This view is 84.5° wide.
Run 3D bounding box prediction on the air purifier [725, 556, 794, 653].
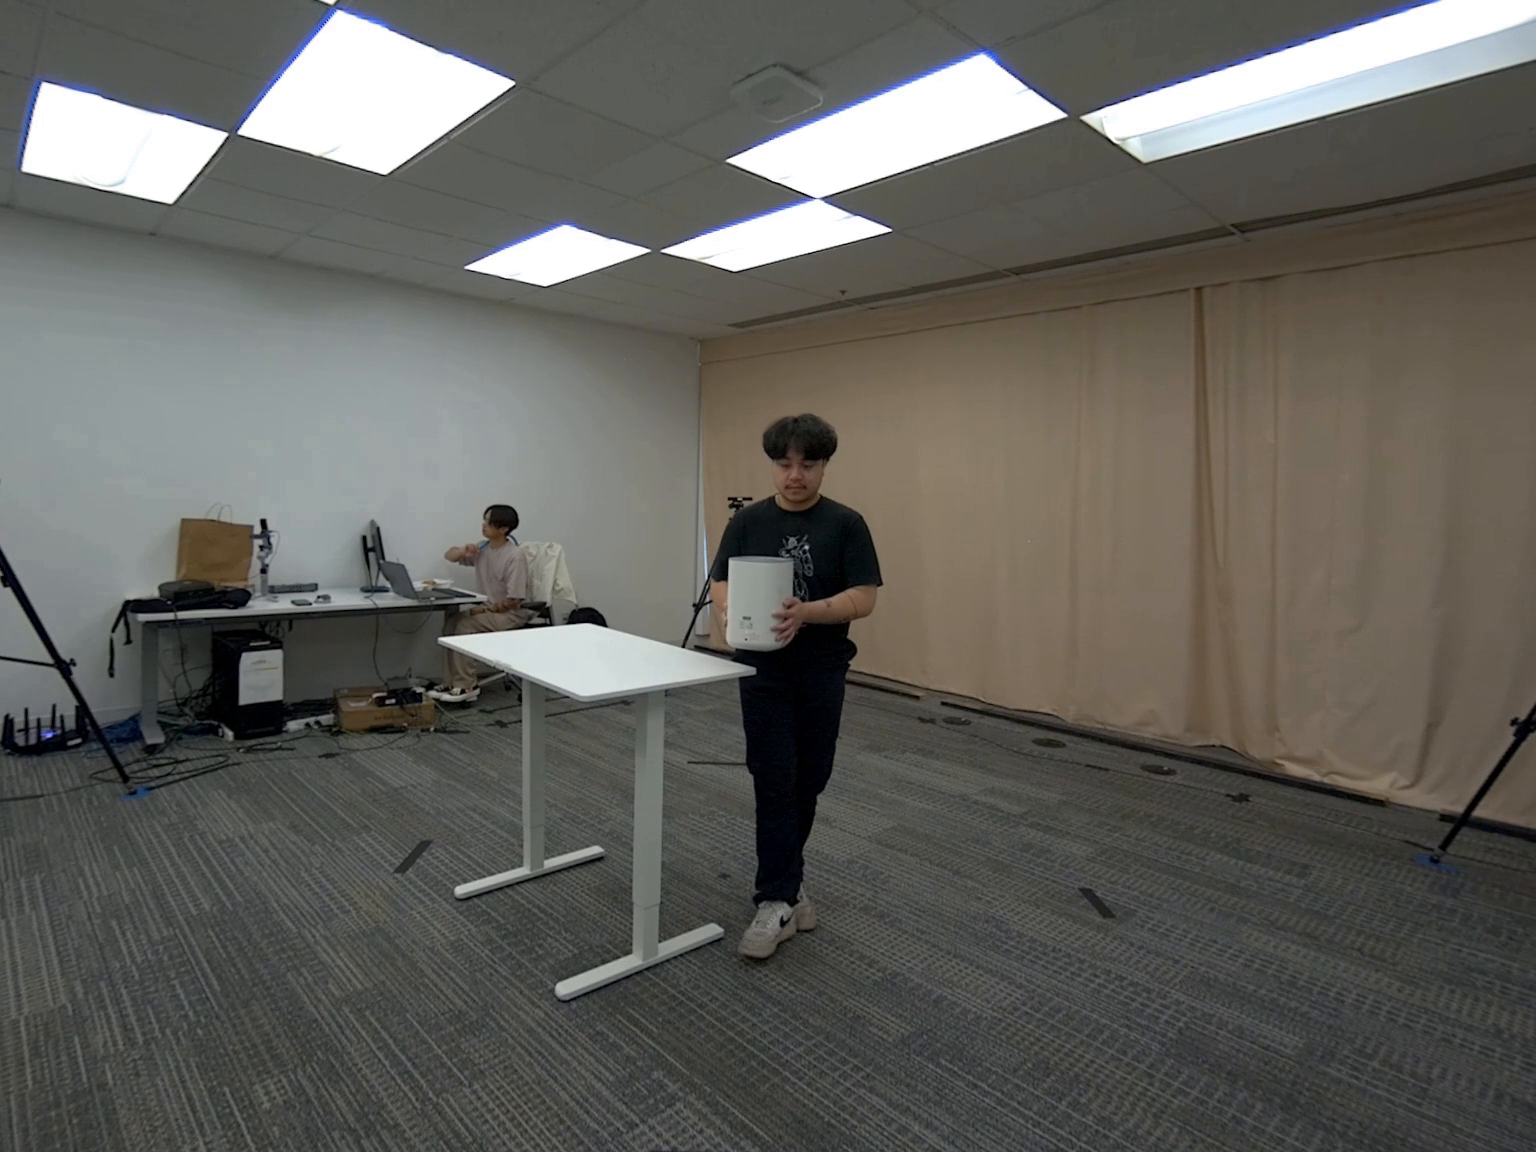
[{"bbox_3d":[-0.037,0.083,2.498,0.174,0.265,0.169,2,4,26],"label":"air purifier"}]
